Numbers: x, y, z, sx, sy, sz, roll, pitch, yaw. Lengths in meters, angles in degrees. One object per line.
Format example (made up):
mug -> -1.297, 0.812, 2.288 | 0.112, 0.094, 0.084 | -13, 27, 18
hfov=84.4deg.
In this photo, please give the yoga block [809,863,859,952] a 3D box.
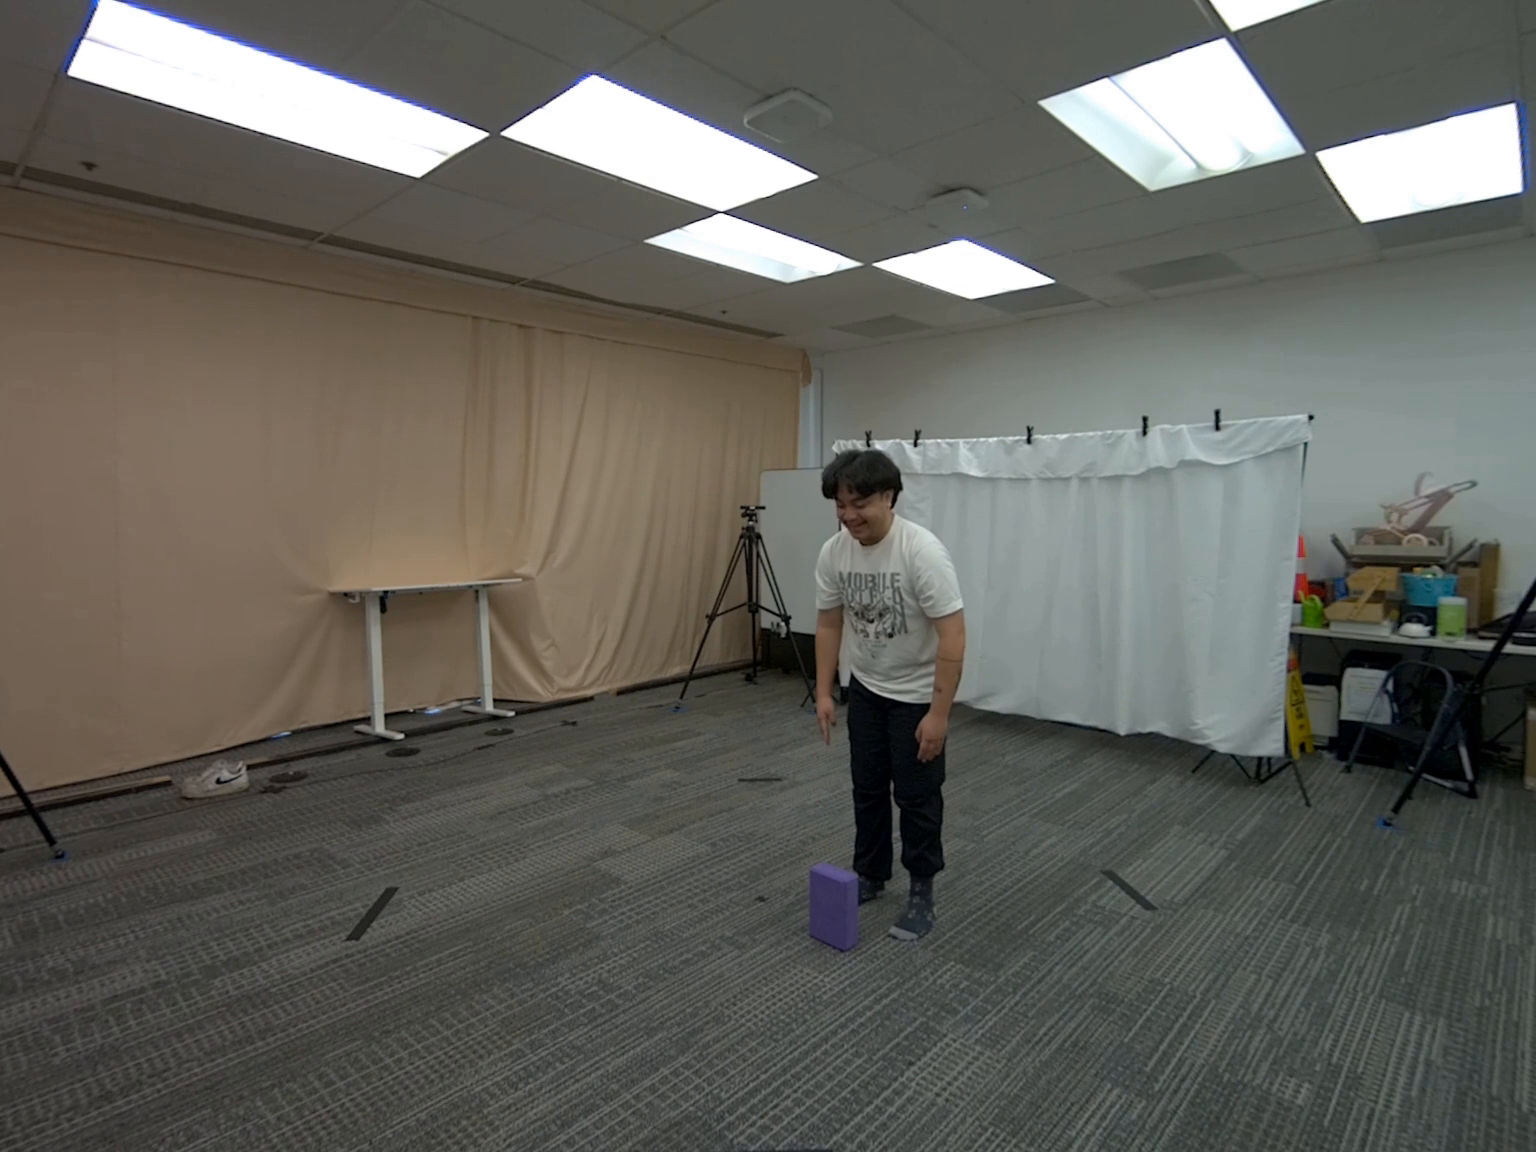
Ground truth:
yoga block -> 0.216, 1.056, 2.685 | 0.154, 0.229, 0.074 | 4, 5, 42
